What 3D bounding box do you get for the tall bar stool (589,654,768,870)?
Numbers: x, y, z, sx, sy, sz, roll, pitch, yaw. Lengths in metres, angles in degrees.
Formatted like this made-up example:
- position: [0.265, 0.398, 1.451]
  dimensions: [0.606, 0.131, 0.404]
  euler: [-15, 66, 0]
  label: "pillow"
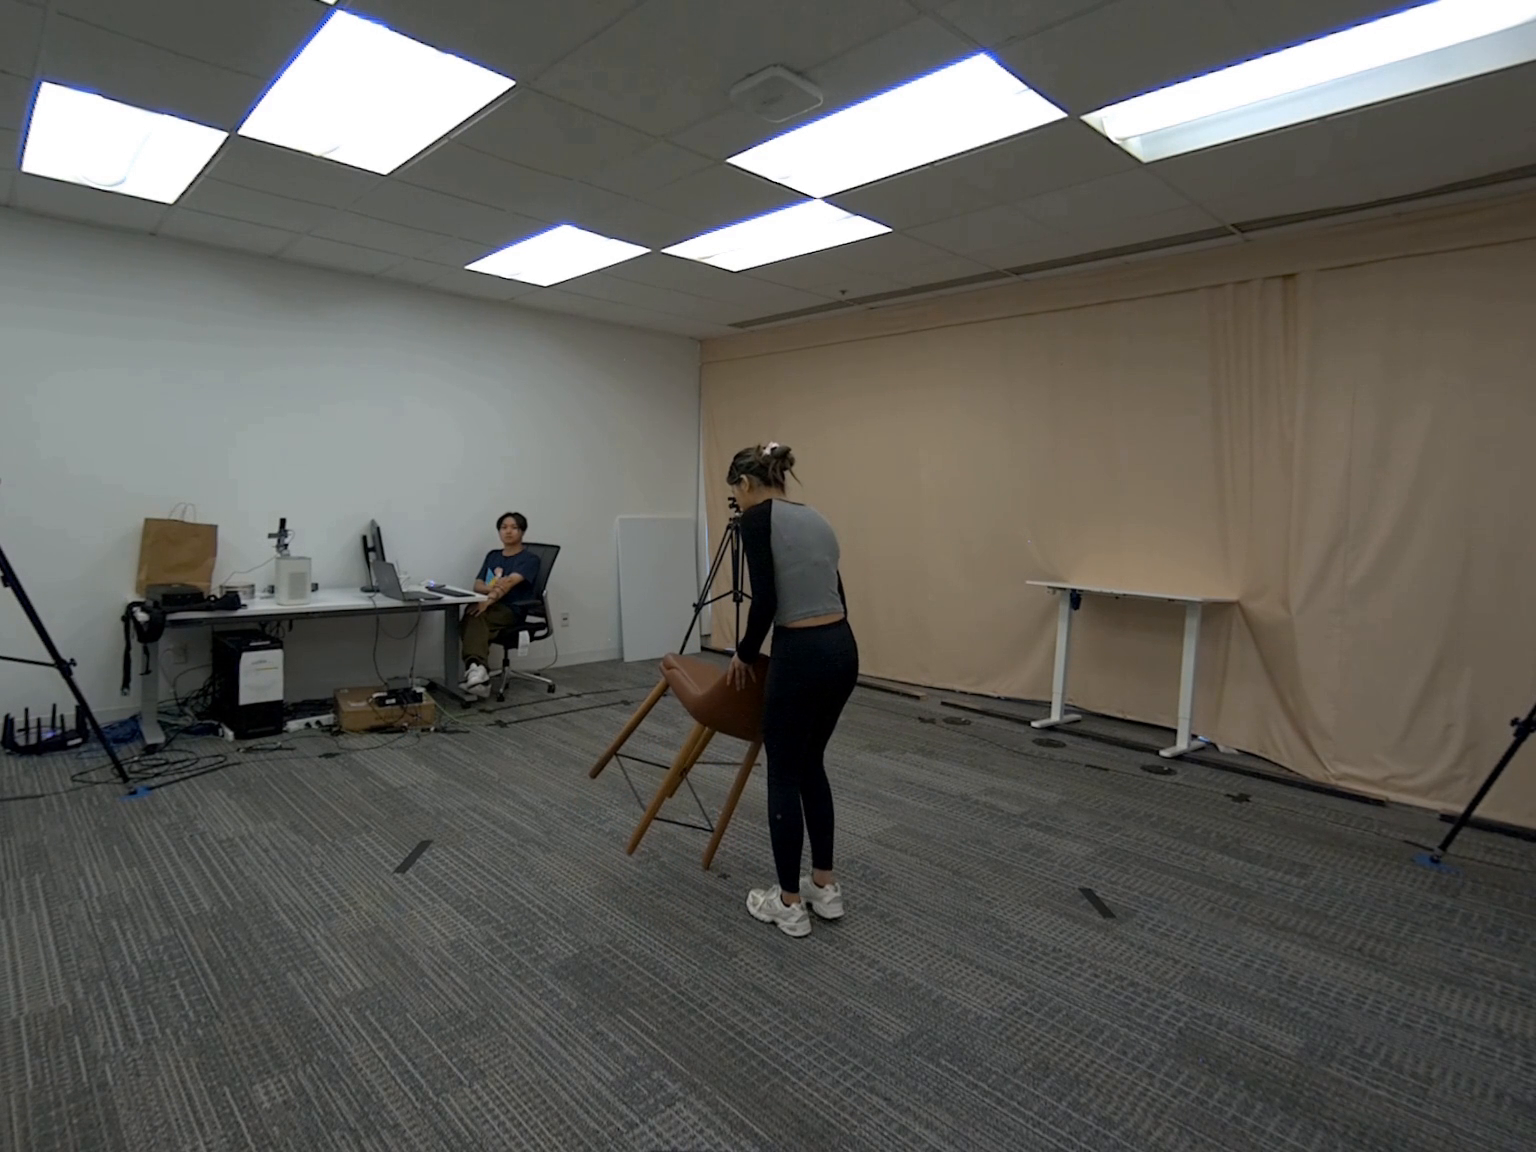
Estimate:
- position: [-0.238, 0.585, 3.161]
  dimensions: [0.443, 0.888, 0.482]
  euler: [25, 13, -35]
  label: "tall bar stool"
